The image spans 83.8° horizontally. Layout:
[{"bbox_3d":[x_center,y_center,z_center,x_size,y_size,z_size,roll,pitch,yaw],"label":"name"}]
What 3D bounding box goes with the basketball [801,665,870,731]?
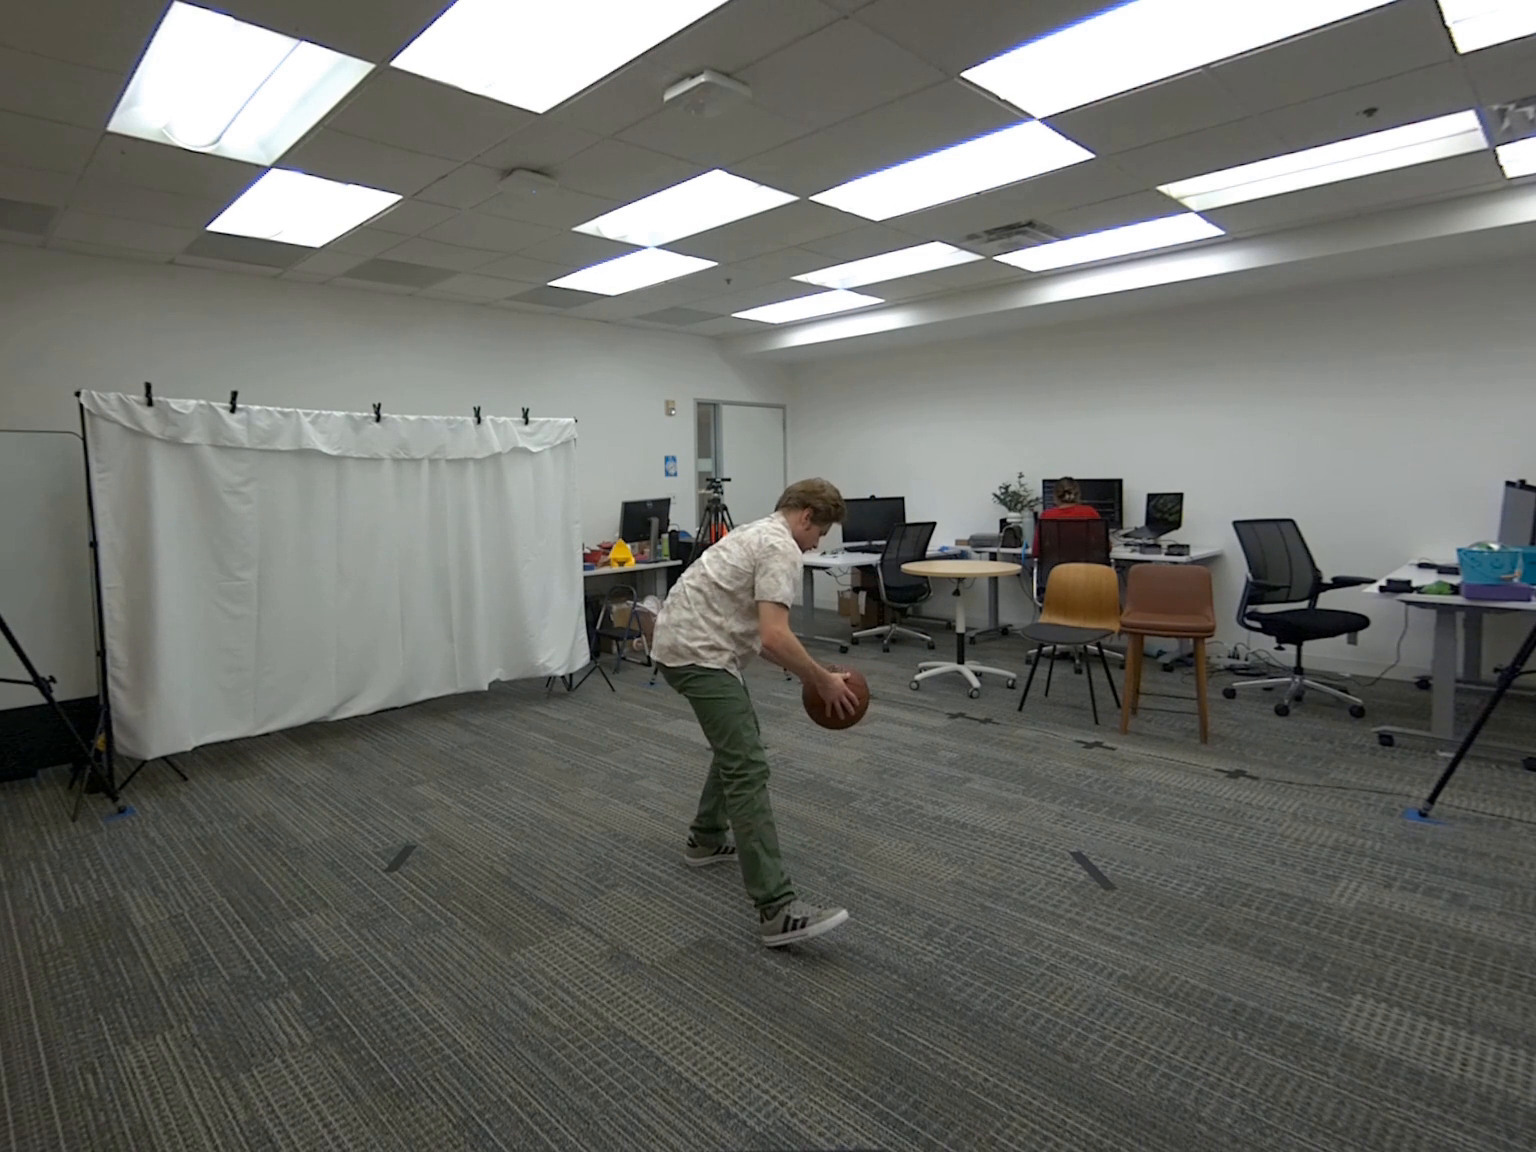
[{"bbox_3d":[0.240,0.427,3.022,0.236,0.235,0.237,-1,5,-2],"label":"basketball"}]
